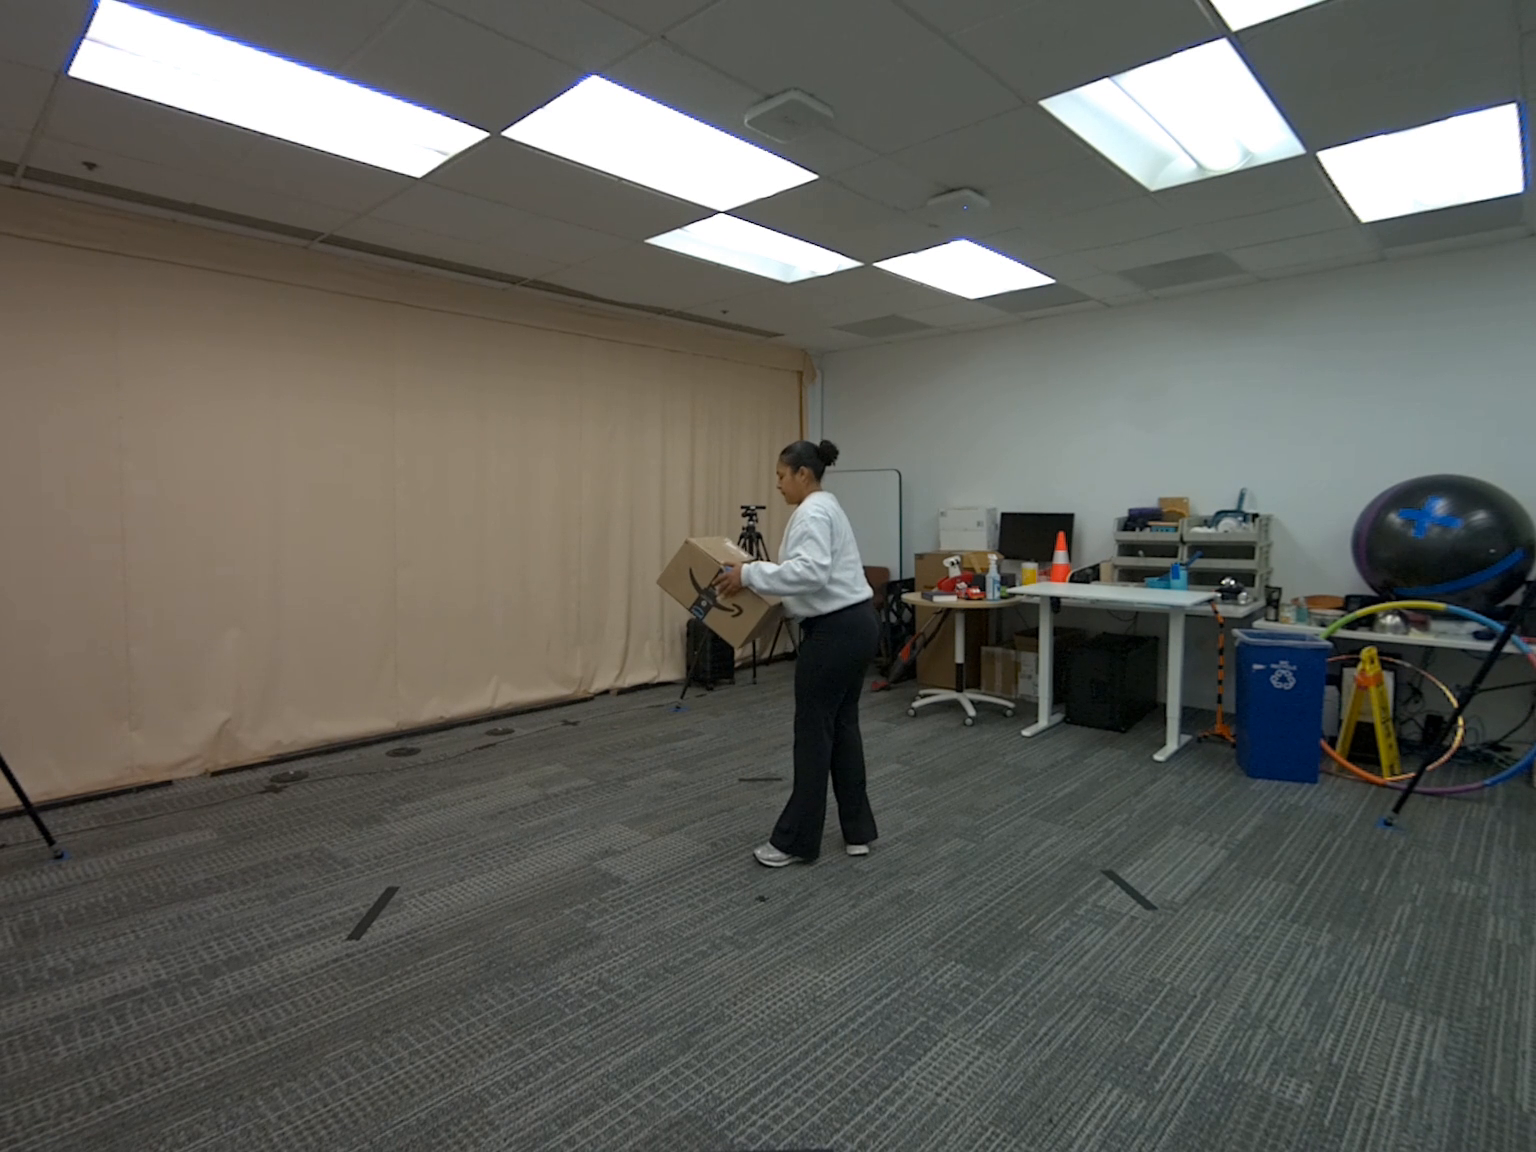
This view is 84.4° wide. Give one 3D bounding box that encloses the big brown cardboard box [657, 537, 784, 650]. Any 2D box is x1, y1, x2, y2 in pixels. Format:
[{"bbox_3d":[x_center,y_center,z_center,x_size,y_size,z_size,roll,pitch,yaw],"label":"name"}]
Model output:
[{"bbox_3d":[-0.151,0.055,3.463,0.423,0.233,0.580,38,11,9],"label":"big brown cardboard box"}]
